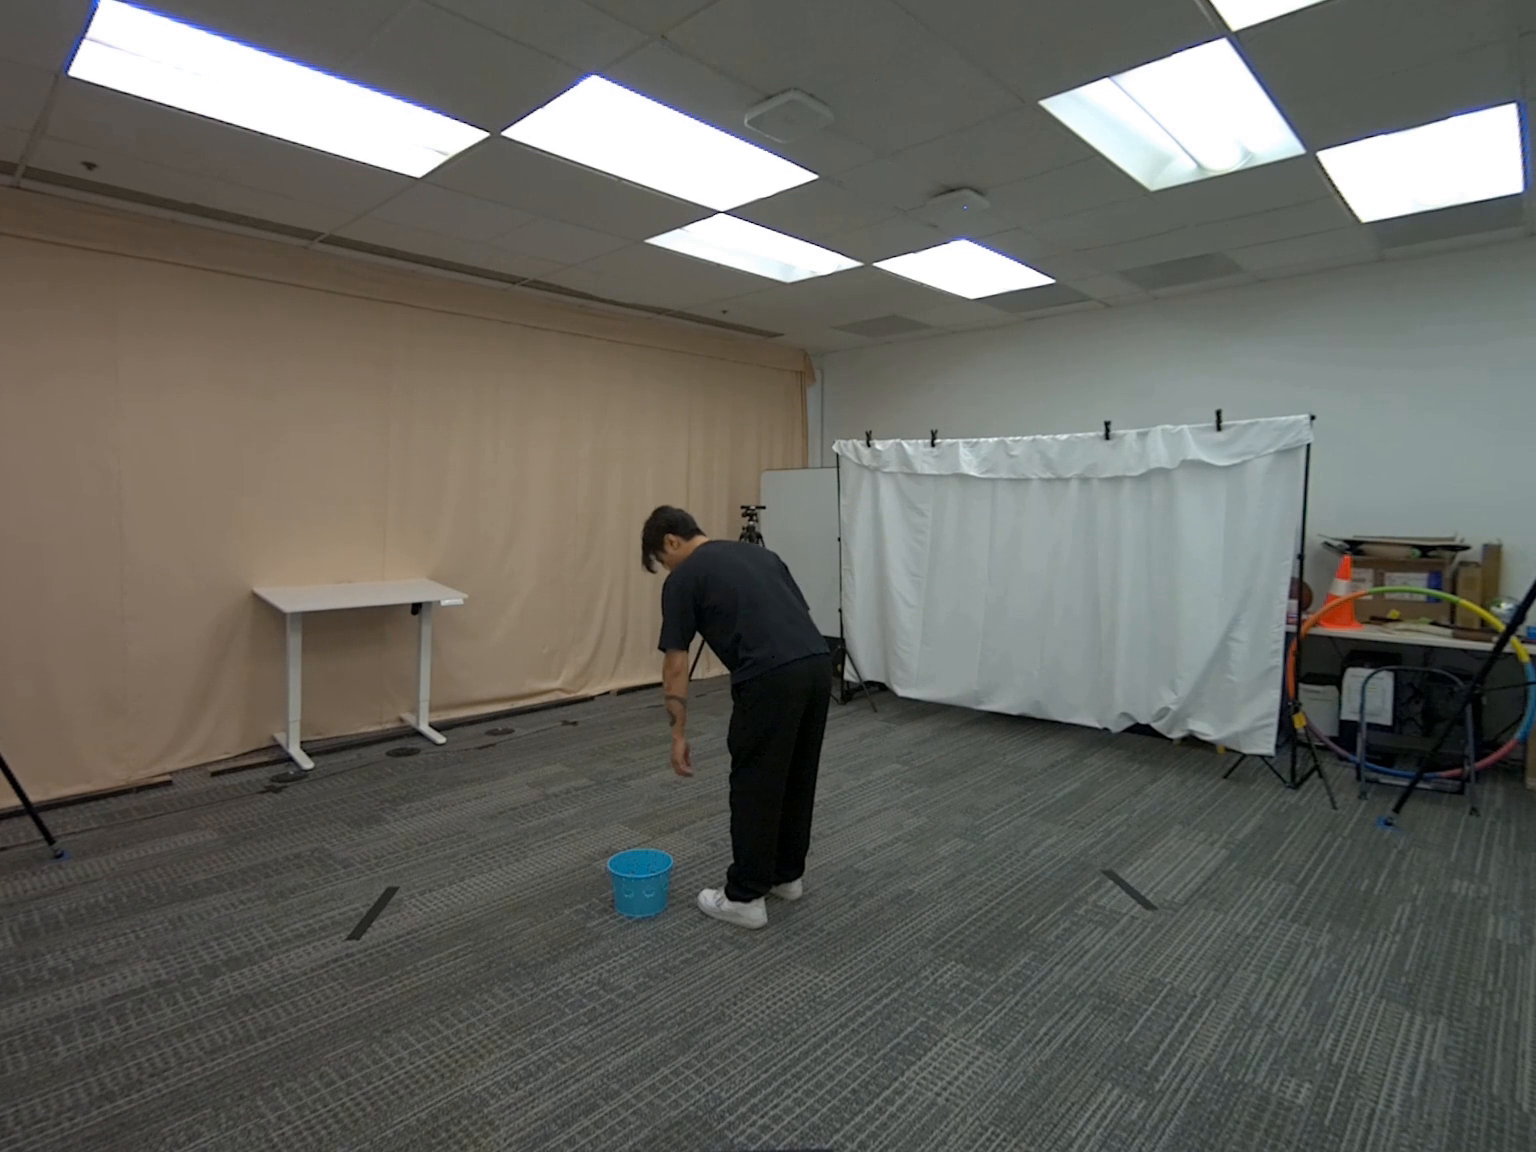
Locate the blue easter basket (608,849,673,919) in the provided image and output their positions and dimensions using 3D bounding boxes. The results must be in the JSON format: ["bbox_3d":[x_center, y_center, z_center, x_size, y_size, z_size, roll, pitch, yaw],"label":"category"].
[{"bbox_3d":[-0.449,1.076,2.940,0.243,0.155,0.244,-1,4,-2],"label":"blue easter basket"}]
